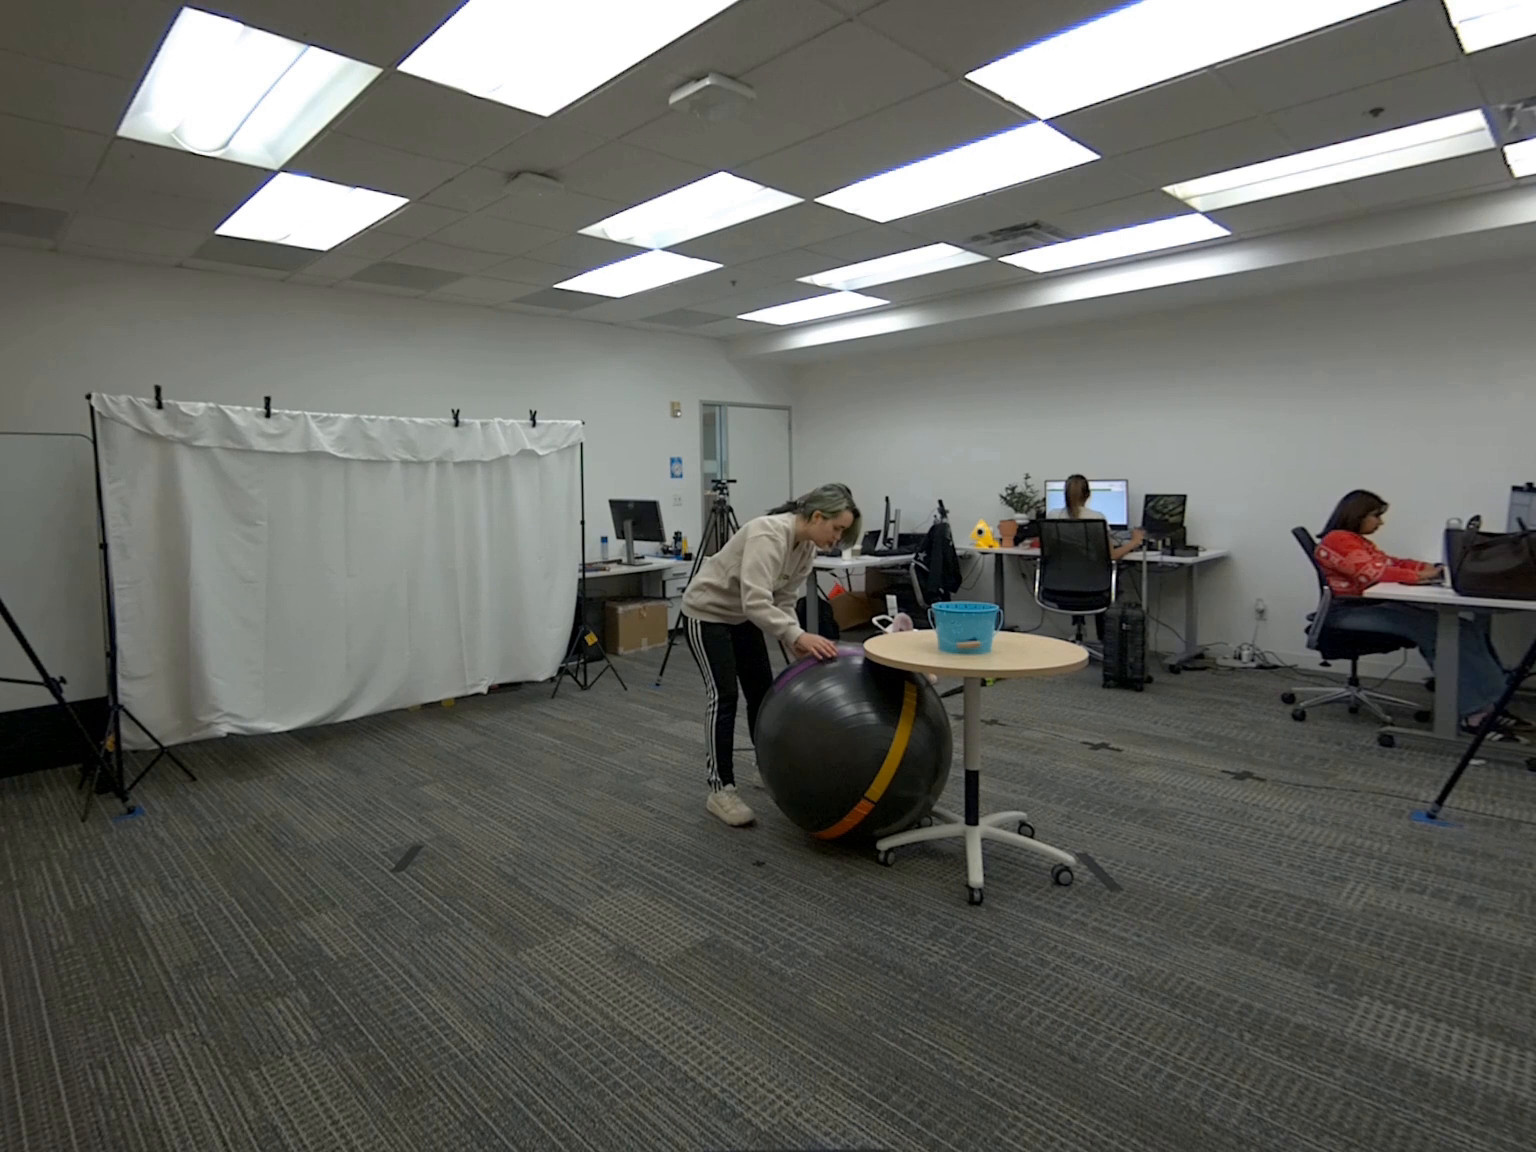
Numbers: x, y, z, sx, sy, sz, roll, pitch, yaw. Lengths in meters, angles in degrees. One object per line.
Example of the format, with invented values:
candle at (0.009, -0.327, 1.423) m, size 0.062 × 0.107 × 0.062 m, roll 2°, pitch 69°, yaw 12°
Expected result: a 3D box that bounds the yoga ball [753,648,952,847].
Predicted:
yoga ball at (0.324, 0.645, 3.313) m, size 0.757 × 0.755 × 0.762 m, roll -1°, pitch 5°, yaw -2°
